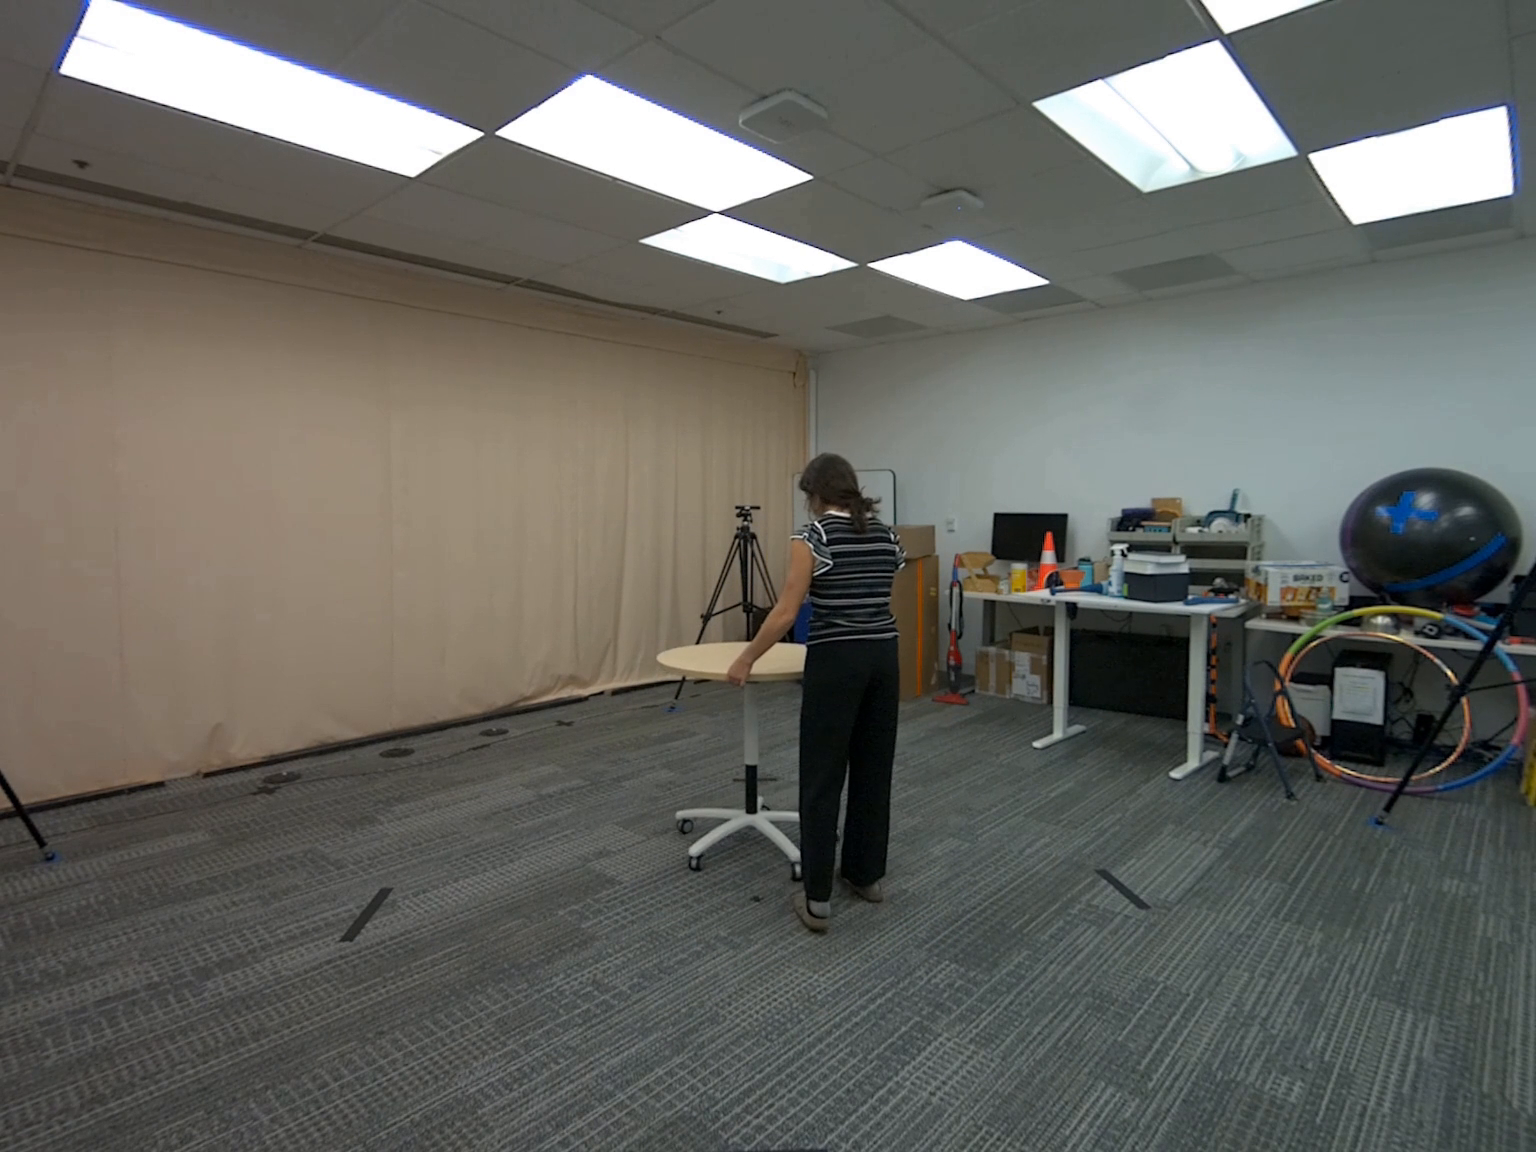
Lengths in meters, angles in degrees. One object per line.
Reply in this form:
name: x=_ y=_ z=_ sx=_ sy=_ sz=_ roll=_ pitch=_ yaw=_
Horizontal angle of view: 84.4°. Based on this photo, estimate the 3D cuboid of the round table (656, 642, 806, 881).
round table: x=-0.076 y=0.711 z=3.438 sx=0.784 sy=0.785 sz=0.787 roll=0 pitch=3 yaw=-2
